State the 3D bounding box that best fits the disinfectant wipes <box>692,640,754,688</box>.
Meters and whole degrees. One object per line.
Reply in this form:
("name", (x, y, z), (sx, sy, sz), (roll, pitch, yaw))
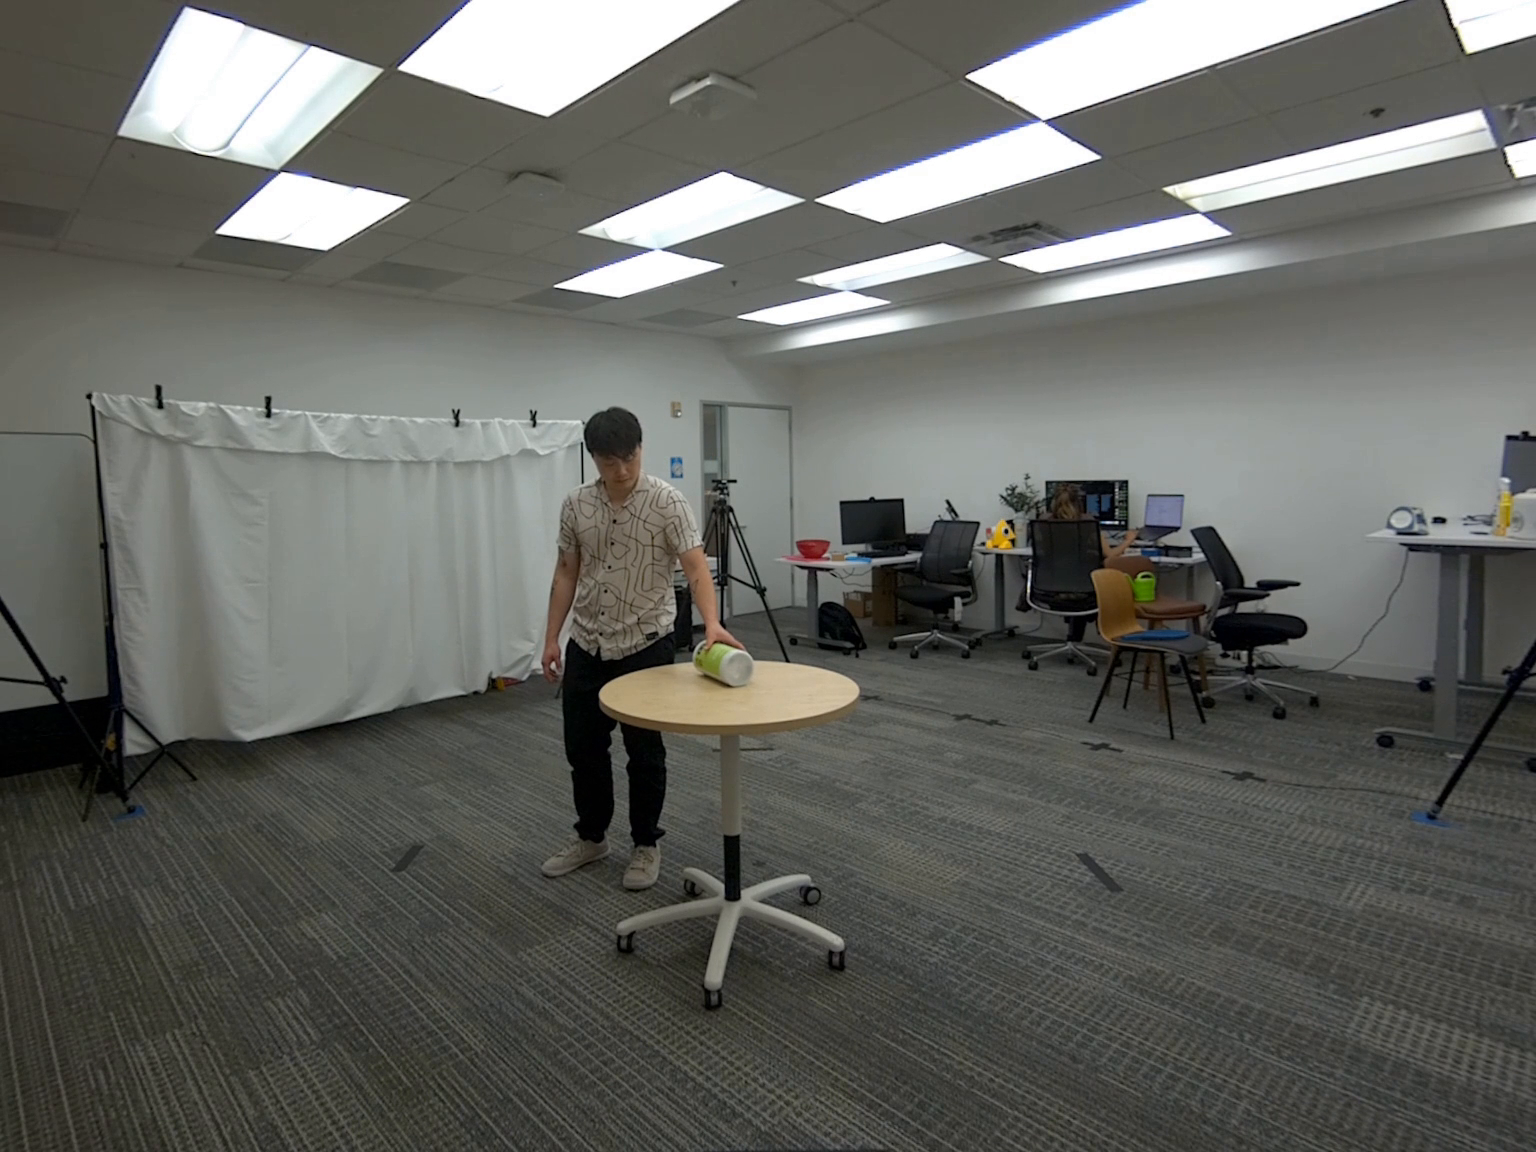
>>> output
("disinfectant wipes", (-0.139, 0.266, 2.630), (0.115, 0.117, 0.223), (-3, 6, -28))
